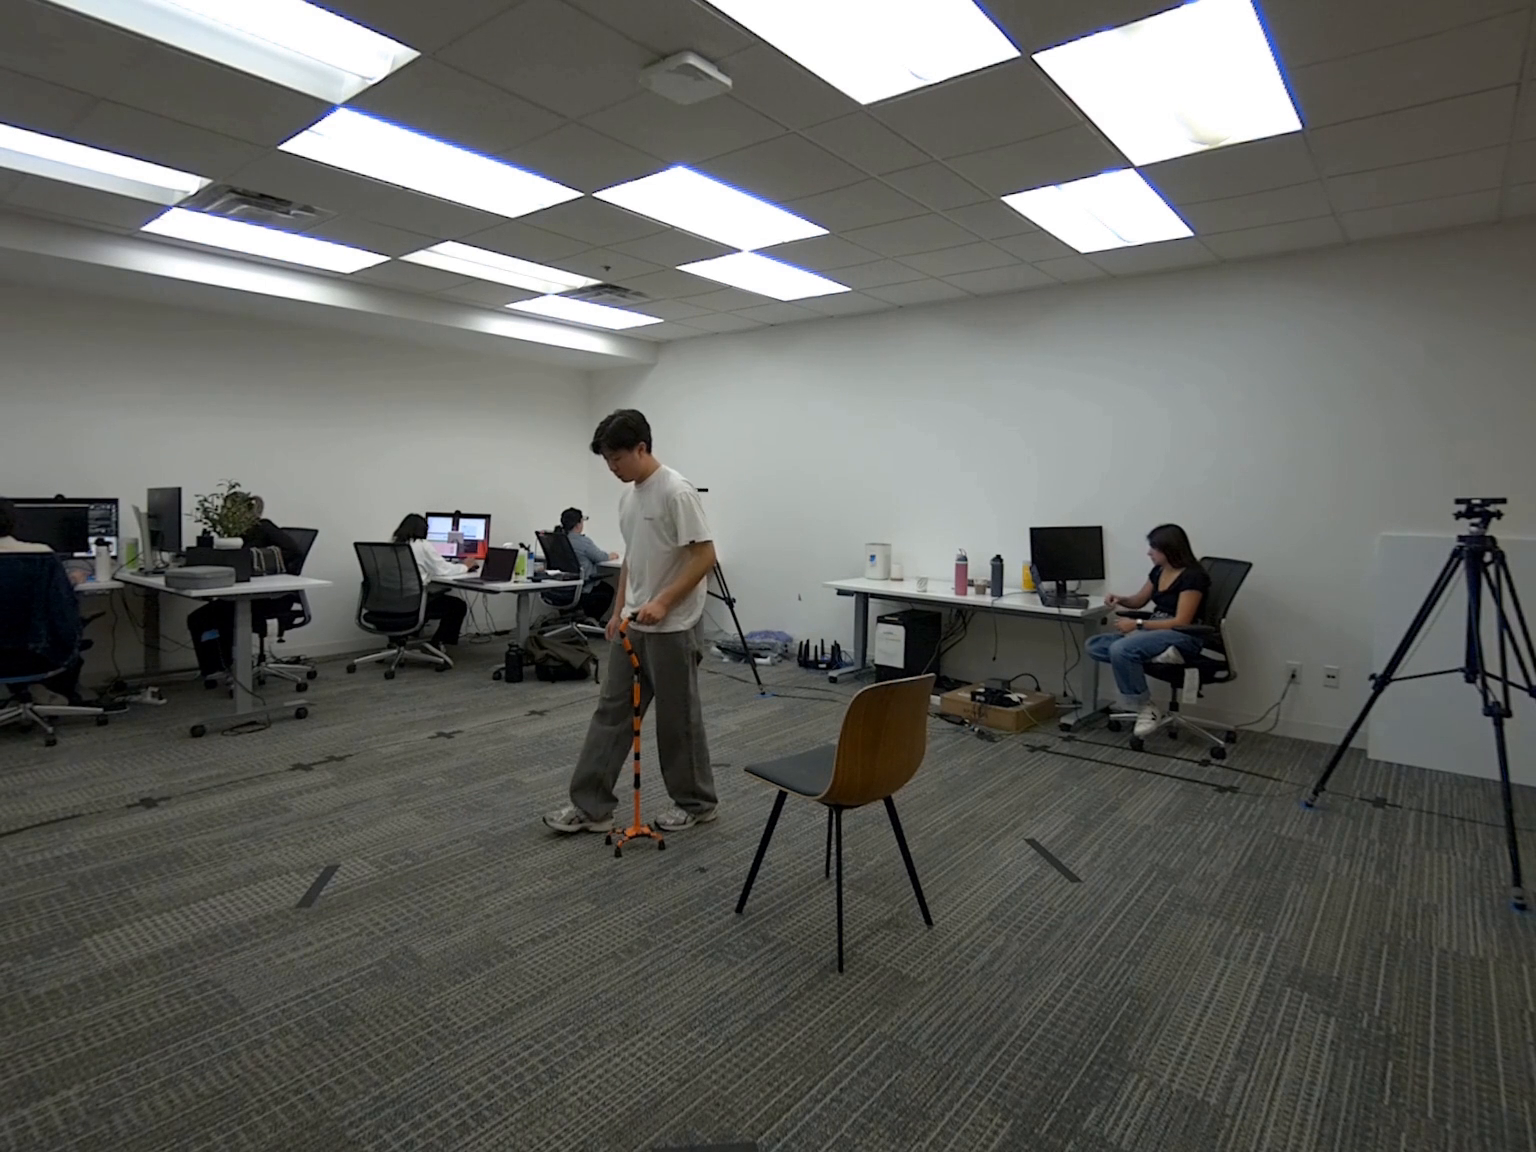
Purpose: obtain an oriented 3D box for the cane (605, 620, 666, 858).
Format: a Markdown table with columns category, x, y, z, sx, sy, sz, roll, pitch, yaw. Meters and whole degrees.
| category | x | y | z | sx | sy | sz | roll | pitch | yaw |
| --- | --- | --- | --- | --- | --- | --- | --- | --- | --- |
| cane | -0.512 | 0.587 | 3.266 | 0.202 | 0.903 | 0.156 | -1 | 6 | -24 |
